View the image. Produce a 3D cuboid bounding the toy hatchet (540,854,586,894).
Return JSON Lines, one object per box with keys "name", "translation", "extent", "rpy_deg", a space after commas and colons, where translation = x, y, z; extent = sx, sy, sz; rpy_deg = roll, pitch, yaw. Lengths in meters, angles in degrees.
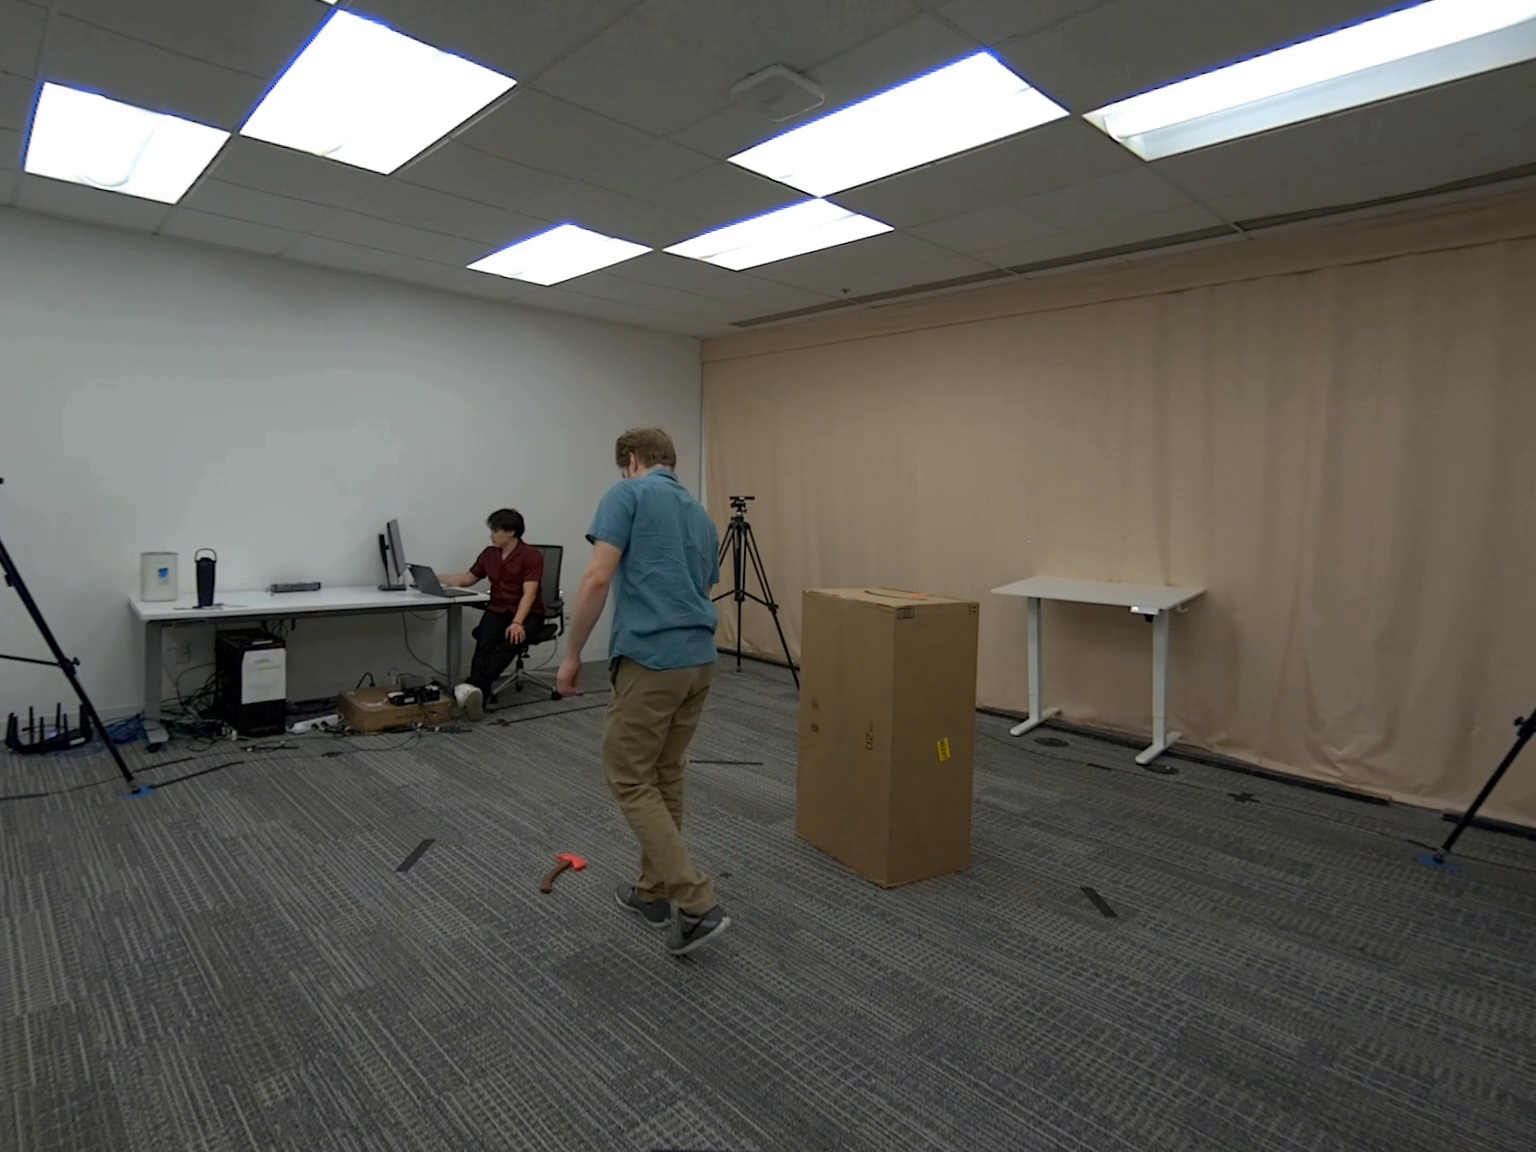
{"name": "toy hatchet", "translation": [-0.748, 1.087, 3.056], "extent": [0.131, 0.029, 0.272], "rpy_deg": [6, 7, -4]}
